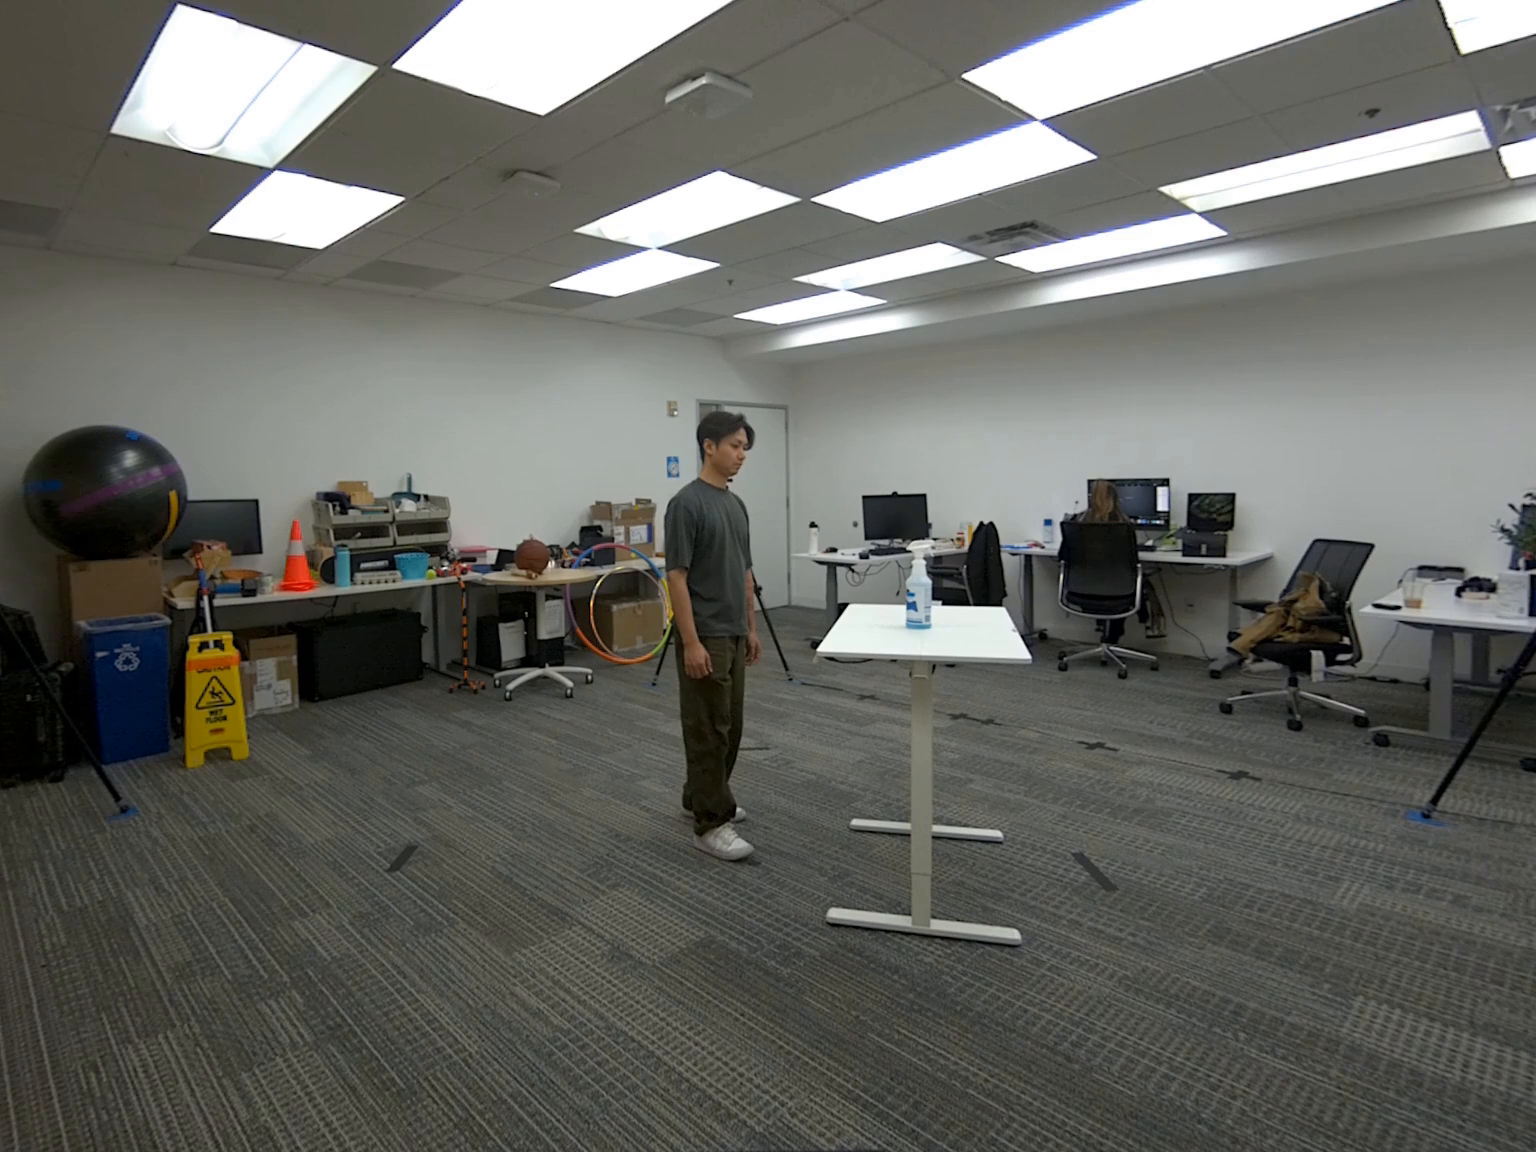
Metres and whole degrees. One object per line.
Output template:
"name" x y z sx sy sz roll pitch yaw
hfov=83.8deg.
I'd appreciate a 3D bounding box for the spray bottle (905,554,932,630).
"spray bottle" 0.514 0.029 2.903 0.092 0.297 0.085 1 1 27
